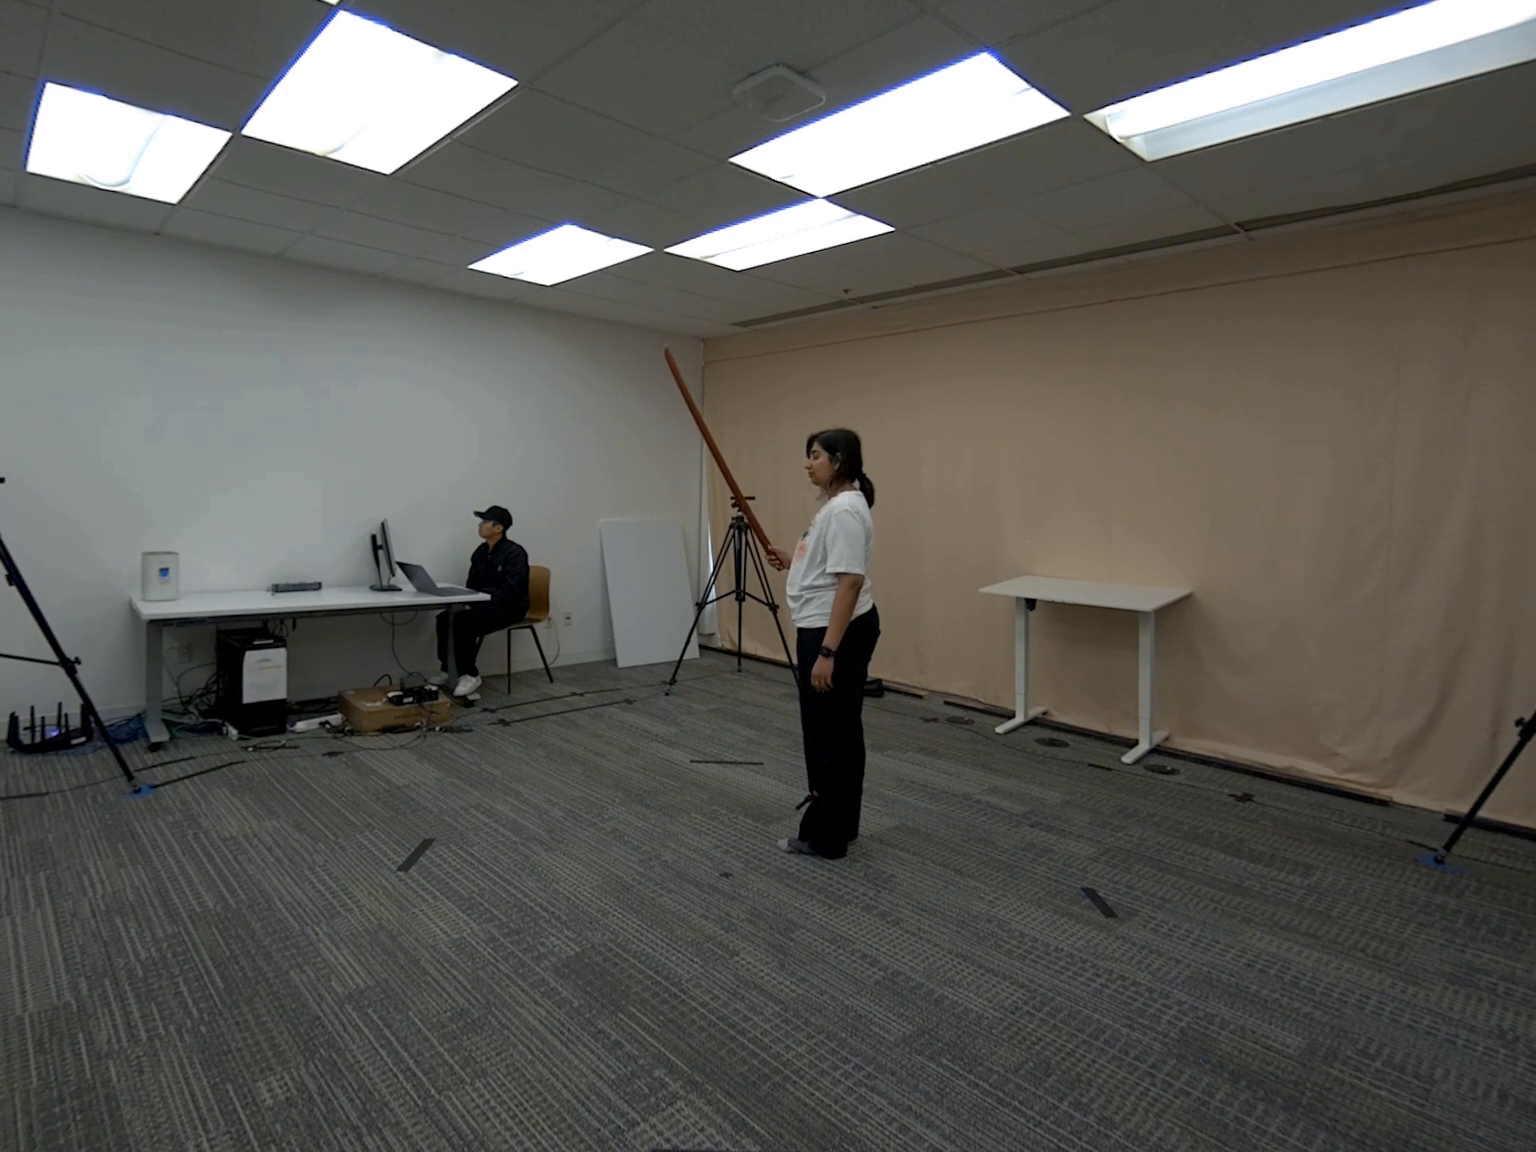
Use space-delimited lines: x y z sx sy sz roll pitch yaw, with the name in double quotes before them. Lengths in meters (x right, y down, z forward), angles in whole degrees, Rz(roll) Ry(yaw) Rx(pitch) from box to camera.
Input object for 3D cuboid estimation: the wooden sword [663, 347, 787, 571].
"wooden sword" -0.191 -0.461 3.443 0.024 1.014 0.052 -27 10 -2
